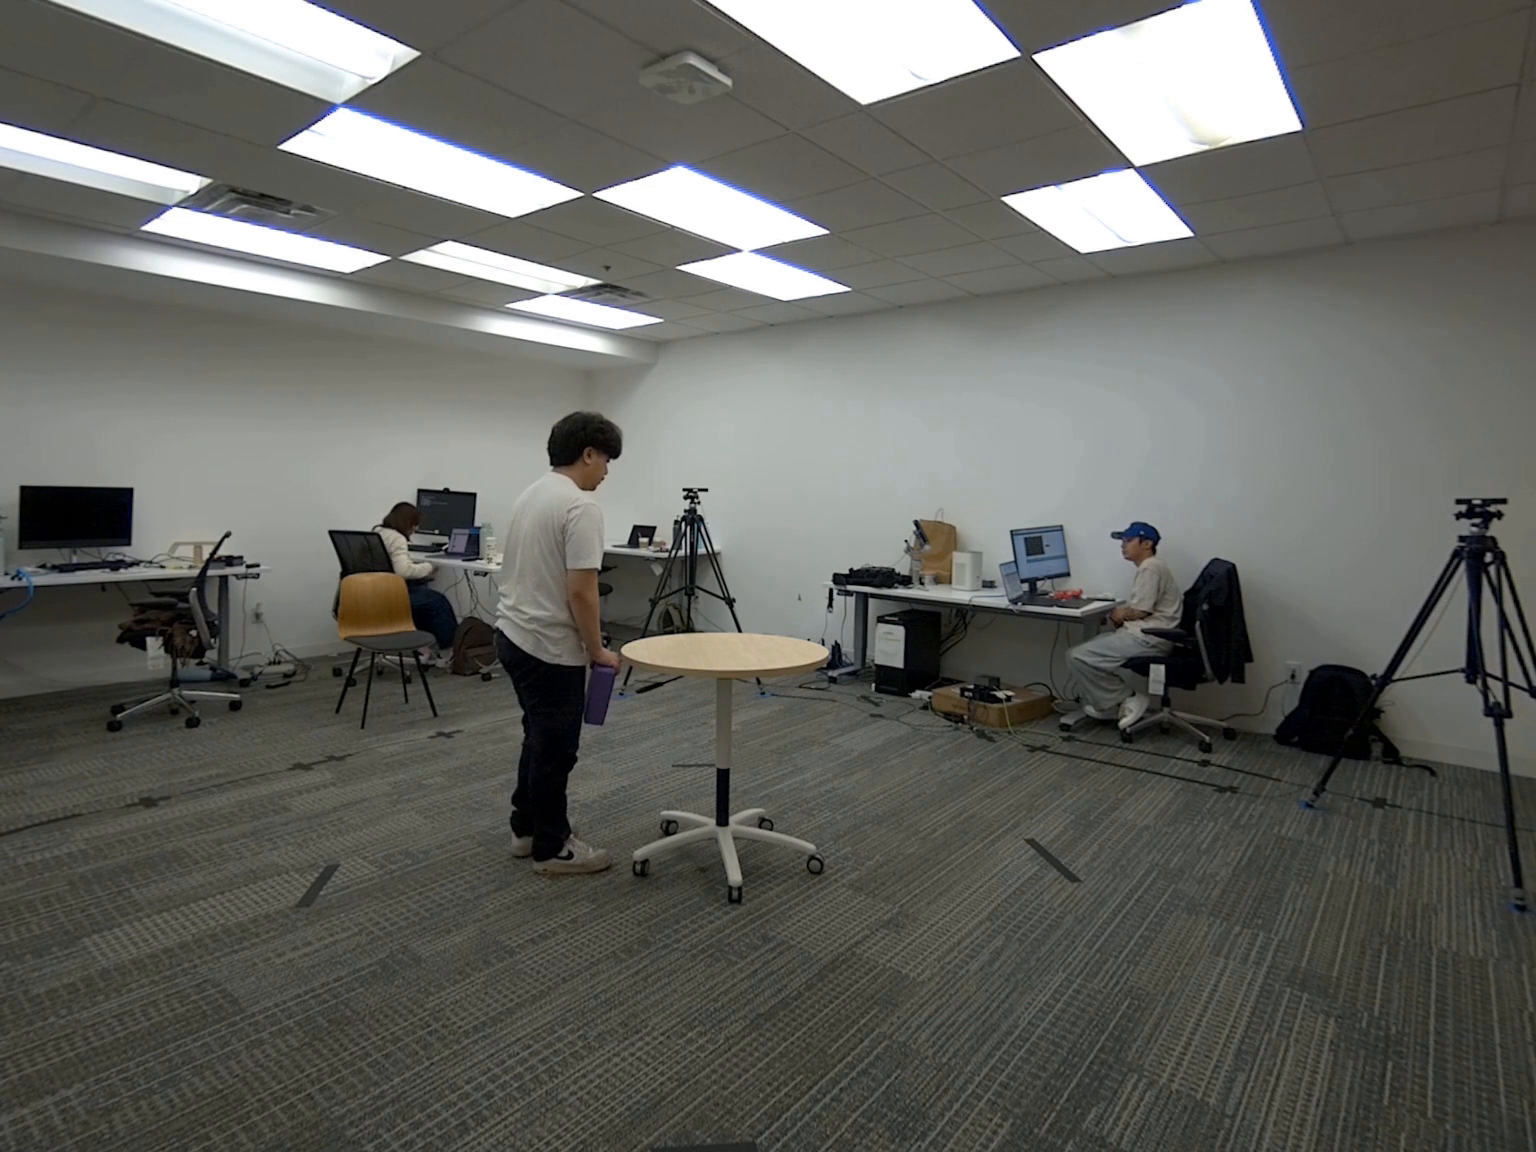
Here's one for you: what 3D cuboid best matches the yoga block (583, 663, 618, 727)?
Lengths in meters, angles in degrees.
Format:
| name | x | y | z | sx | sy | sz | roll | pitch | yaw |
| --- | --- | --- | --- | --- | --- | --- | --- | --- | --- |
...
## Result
| name | x | y | z | sx | sy | sz | roll | pitch | yaw |
| --- | --- | --- | --- | --- | --- | --- | --- | --- | --- |
| yoga block | -0.623 | 0.412 | 3.096 | 0.075 | 0.227 | 0.152 | 11 | 16 | -11 |
